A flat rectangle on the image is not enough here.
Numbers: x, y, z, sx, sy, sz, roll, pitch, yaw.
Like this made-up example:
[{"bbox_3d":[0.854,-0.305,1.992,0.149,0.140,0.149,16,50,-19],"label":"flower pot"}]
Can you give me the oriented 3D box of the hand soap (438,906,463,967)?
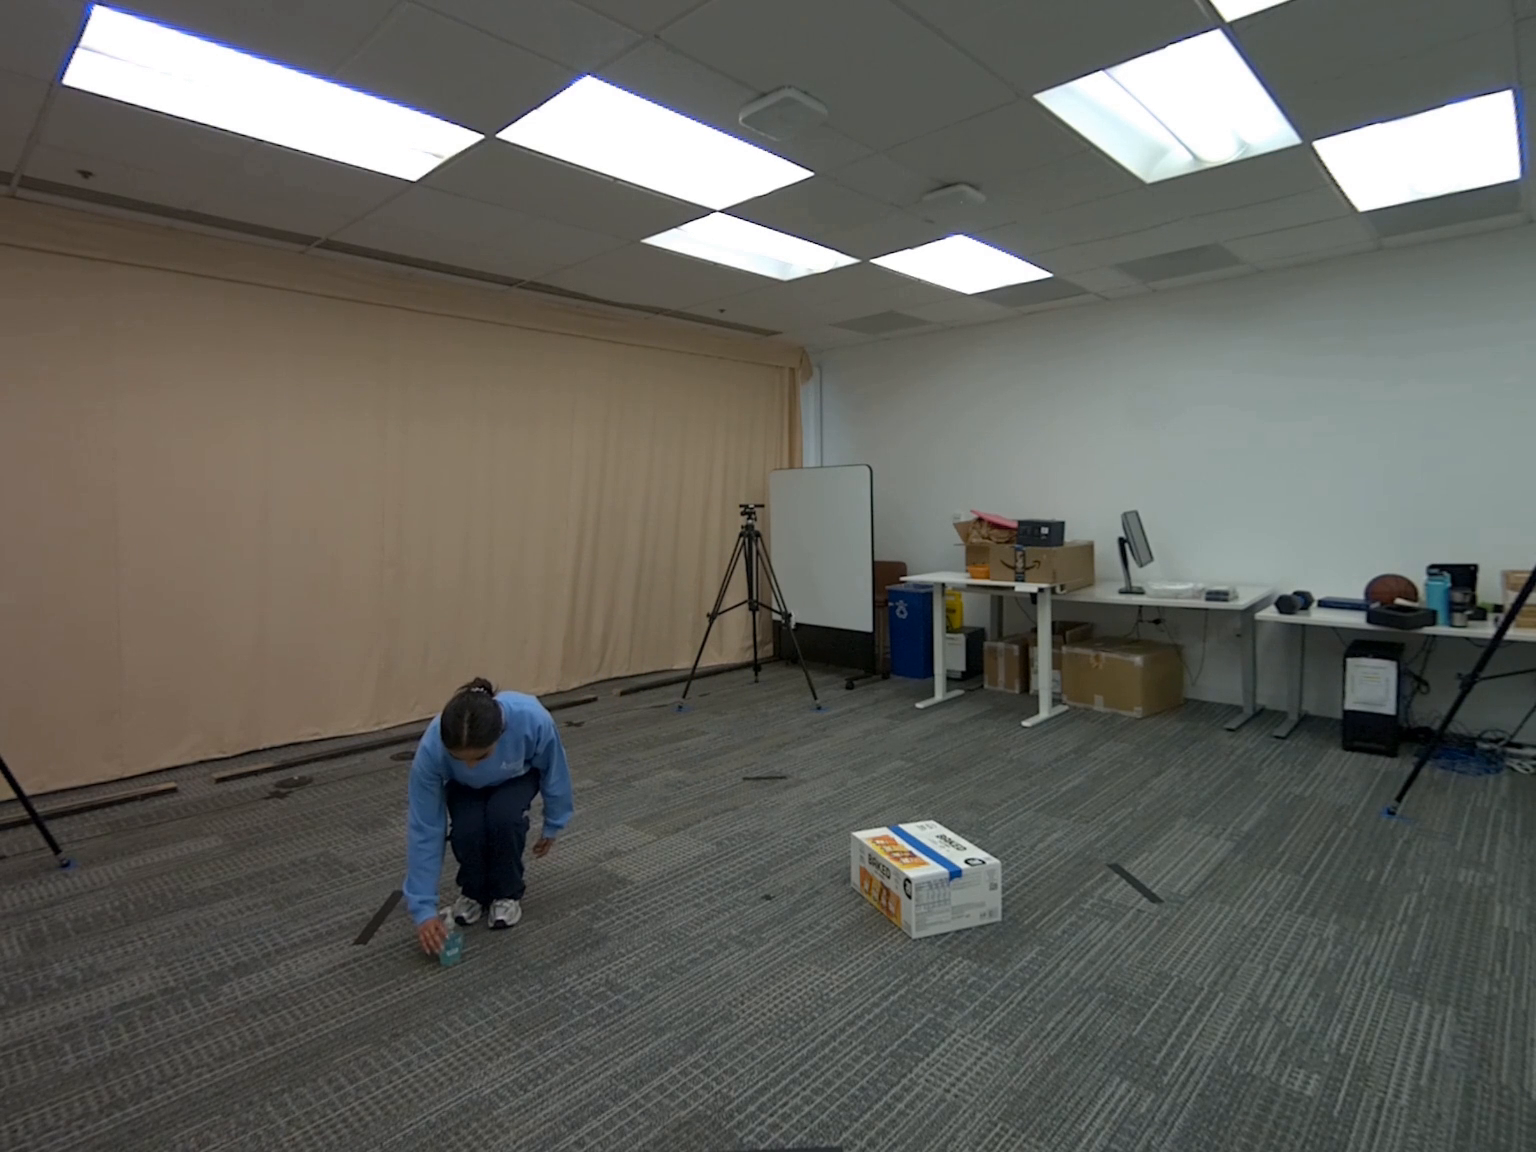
[{"bbox_3d":[-0.982,1.107,2.609,0.045,0.168,0.082,-3,-2,37],"label":"hand soap"}]
